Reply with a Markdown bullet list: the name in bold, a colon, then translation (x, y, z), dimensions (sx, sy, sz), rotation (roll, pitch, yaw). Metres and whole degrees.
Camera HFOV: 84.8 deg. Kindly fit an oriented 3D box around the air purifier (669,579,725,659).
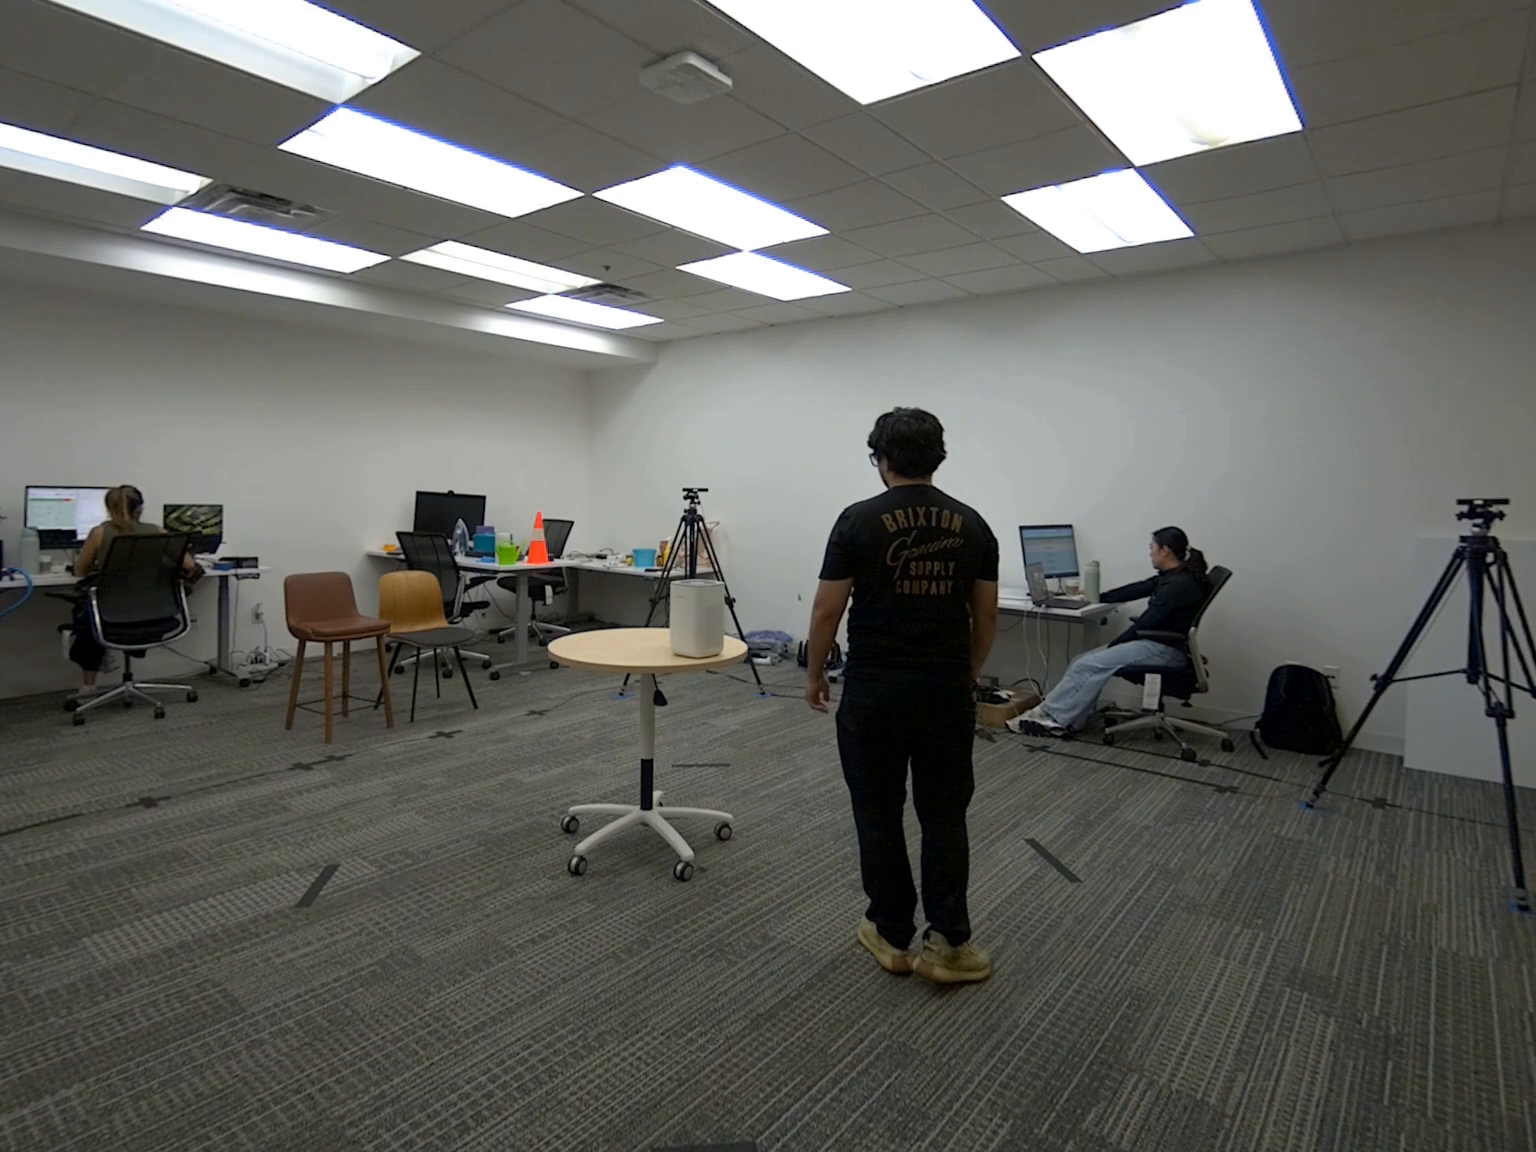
- **air purifier**: translation (-0.270, 0.150, 3.120), dimensions (0.177, 0.264, 0.166), rotation (4, 5, 38)
